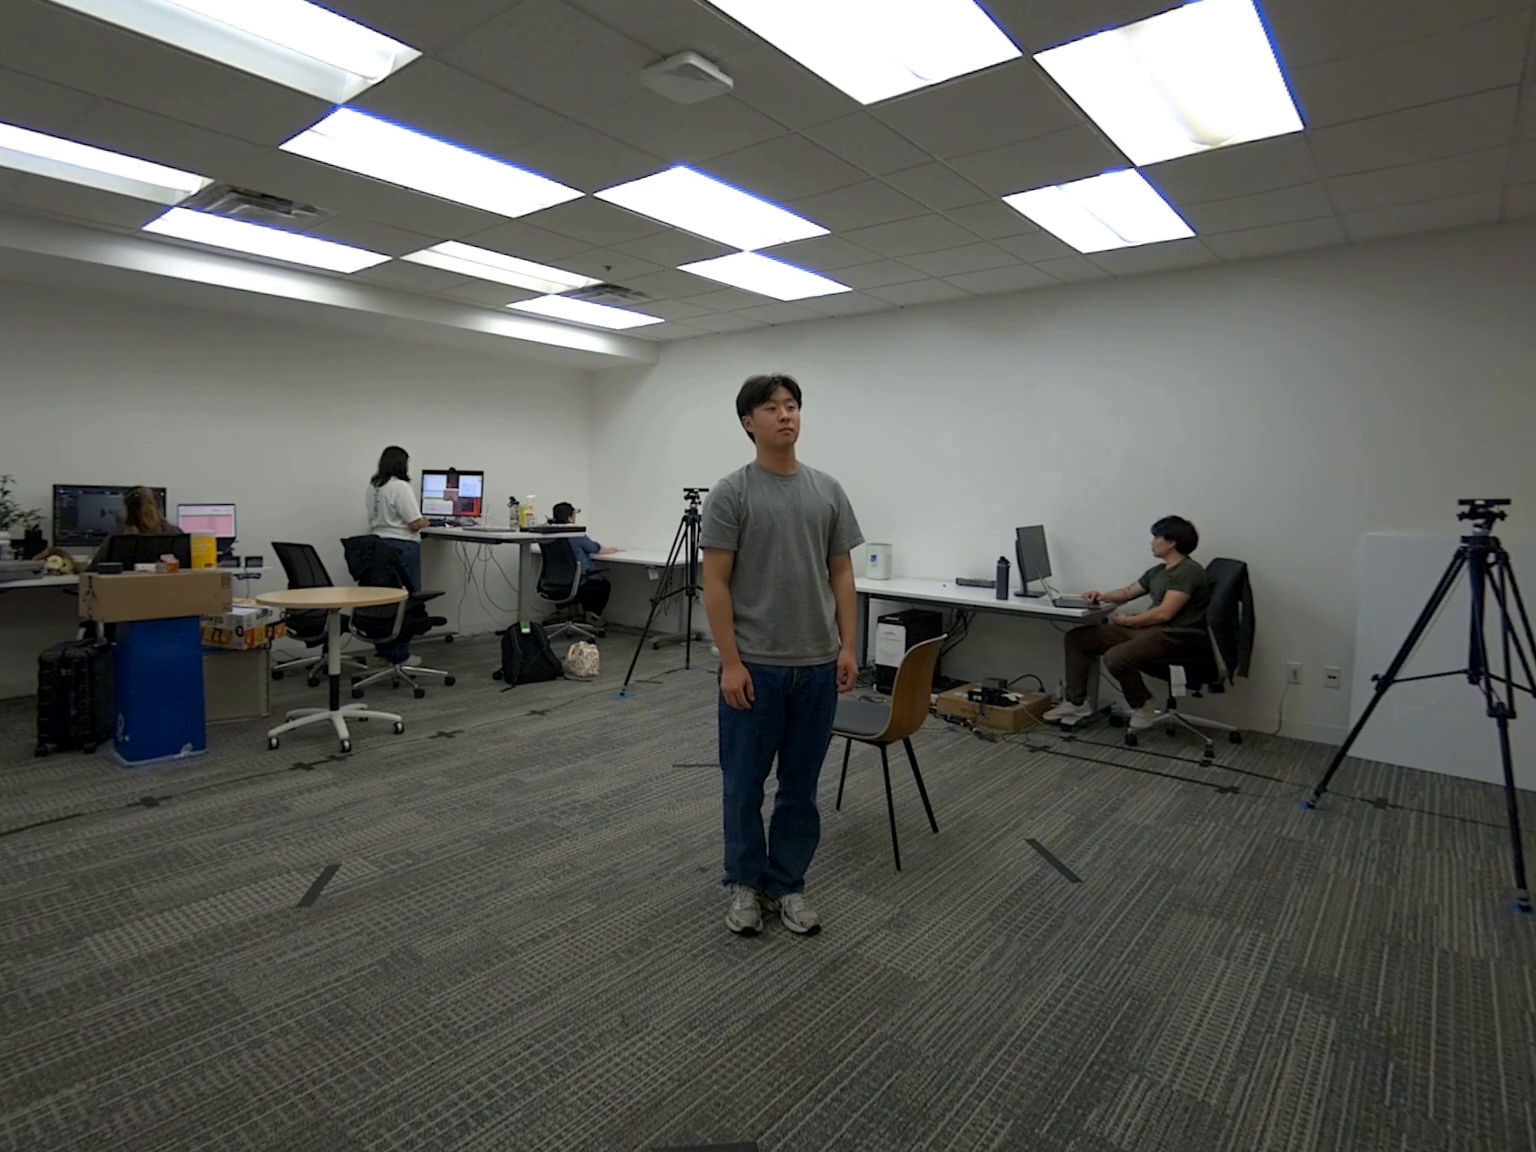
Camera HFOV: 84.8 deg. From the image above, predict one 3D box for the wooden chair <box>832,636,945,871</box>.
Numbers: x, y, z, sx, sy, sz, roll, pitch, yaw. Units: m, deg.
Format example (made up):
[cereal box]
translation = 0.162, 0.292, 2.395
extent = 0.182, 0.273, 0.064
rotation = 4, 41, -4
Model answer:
[wooden chair]
translation = 0.386, 0.626, 3.415
extent = 0.540, 0.873, 0.465
rotation = 8, 7, 30
